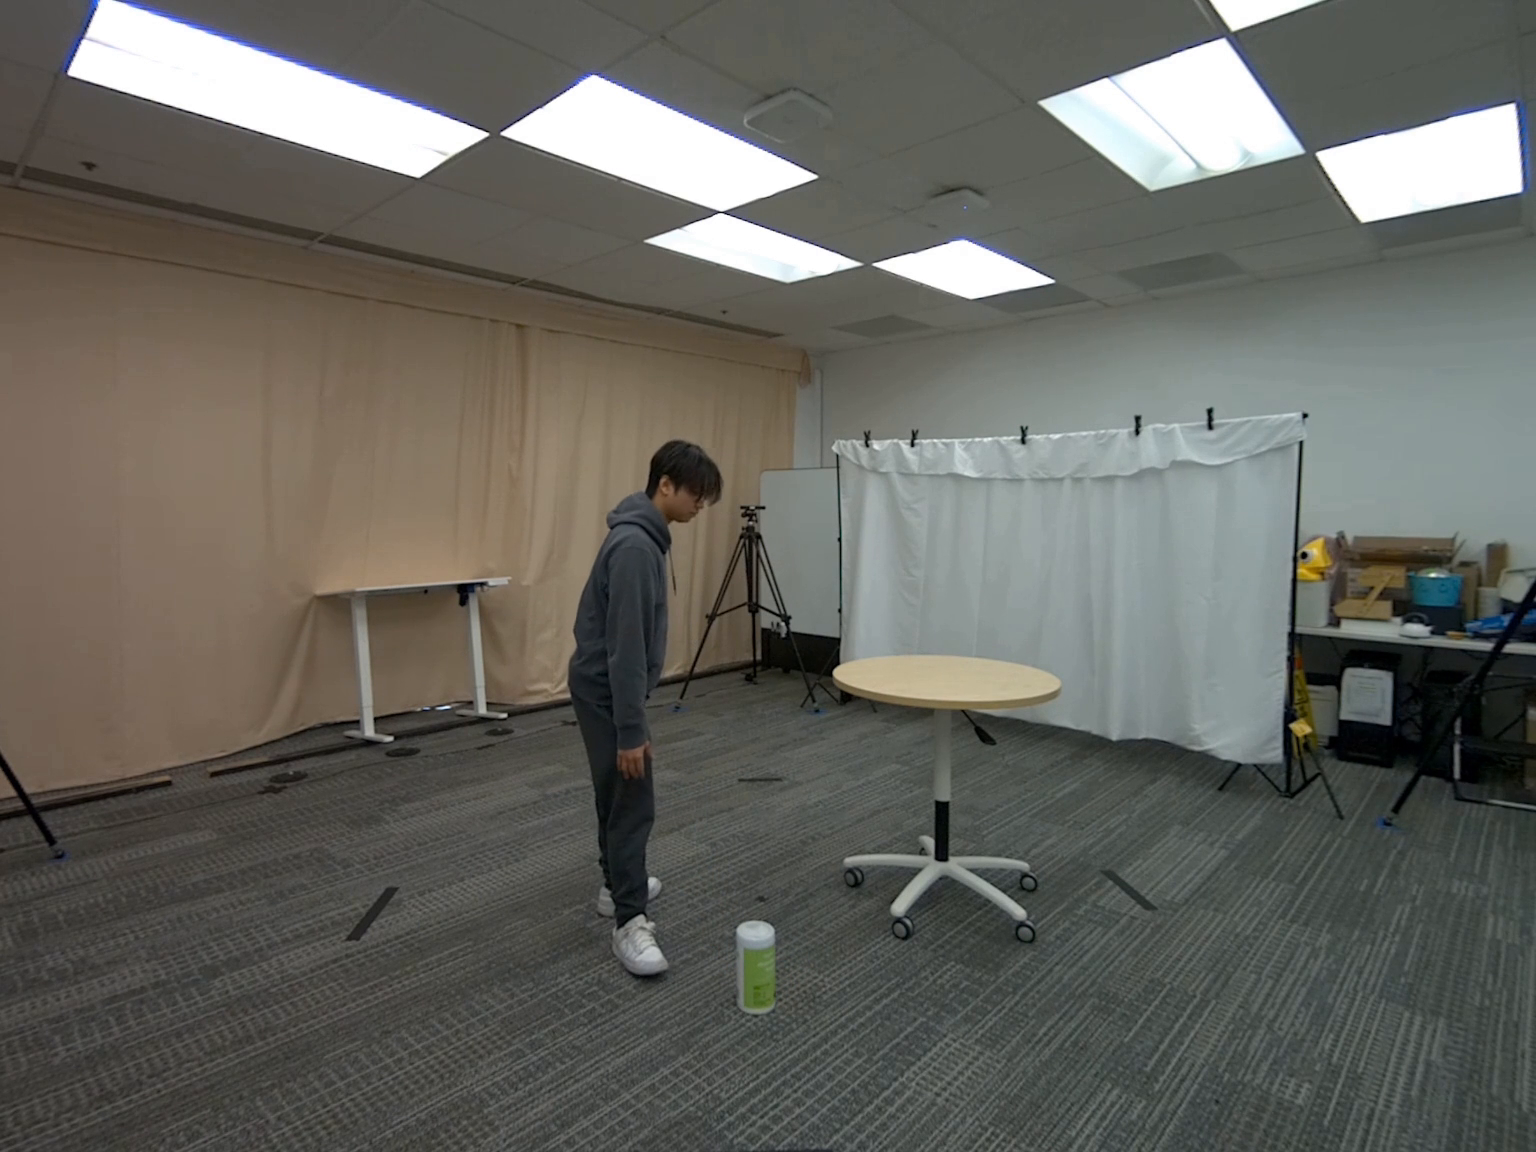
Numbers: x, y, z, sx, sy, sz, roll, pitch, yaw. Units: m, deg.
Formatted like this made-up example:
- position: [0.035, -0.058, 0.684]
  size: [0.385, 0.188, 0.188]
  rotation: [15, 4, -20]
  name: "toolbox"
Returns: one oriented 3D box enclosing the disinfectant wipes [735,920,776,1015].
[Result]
- position: [-0.033, 1.089, 2.343]
  size: [0.118, 0.217, 0.118]
  rotation: [-1, 3, -2]
  name: "disinfectant wipes"
